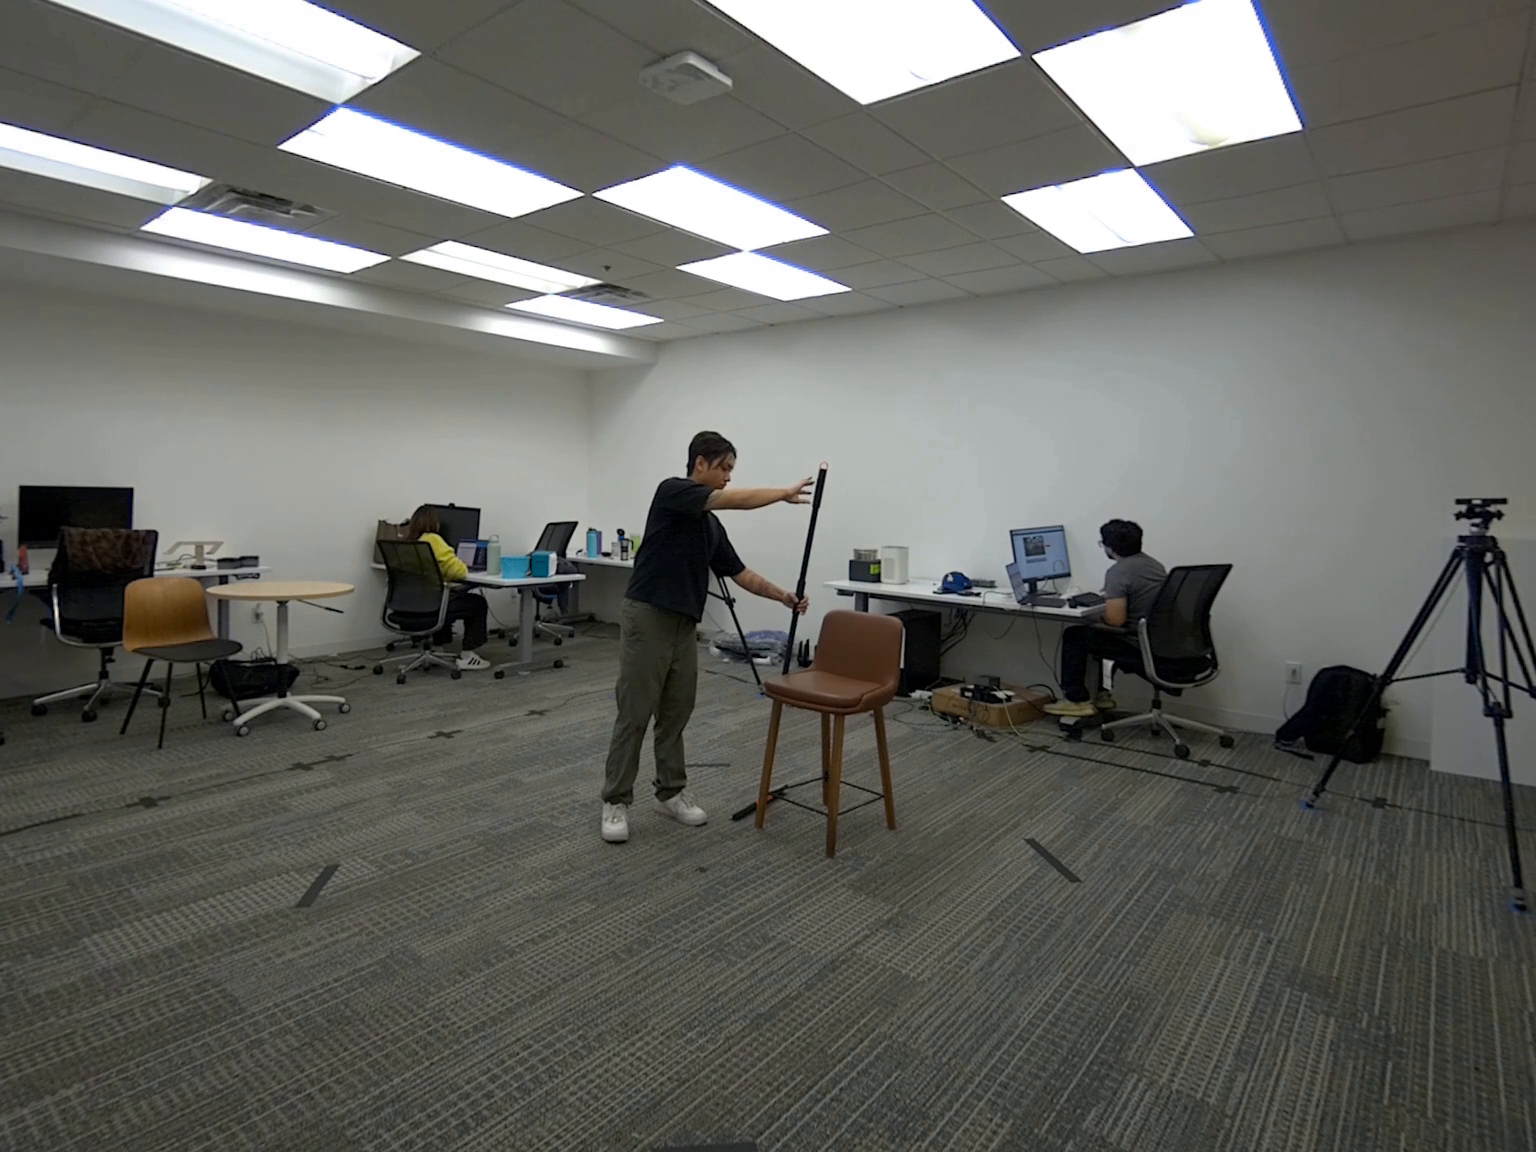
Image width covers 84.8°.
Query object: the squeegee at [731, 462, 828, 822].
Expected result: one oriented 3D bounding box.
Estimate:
[{"bbox_3d":[0.091,0.262,3.619,0.055,1.528,0.424,14,9,35],"label":"squeegee"}]
